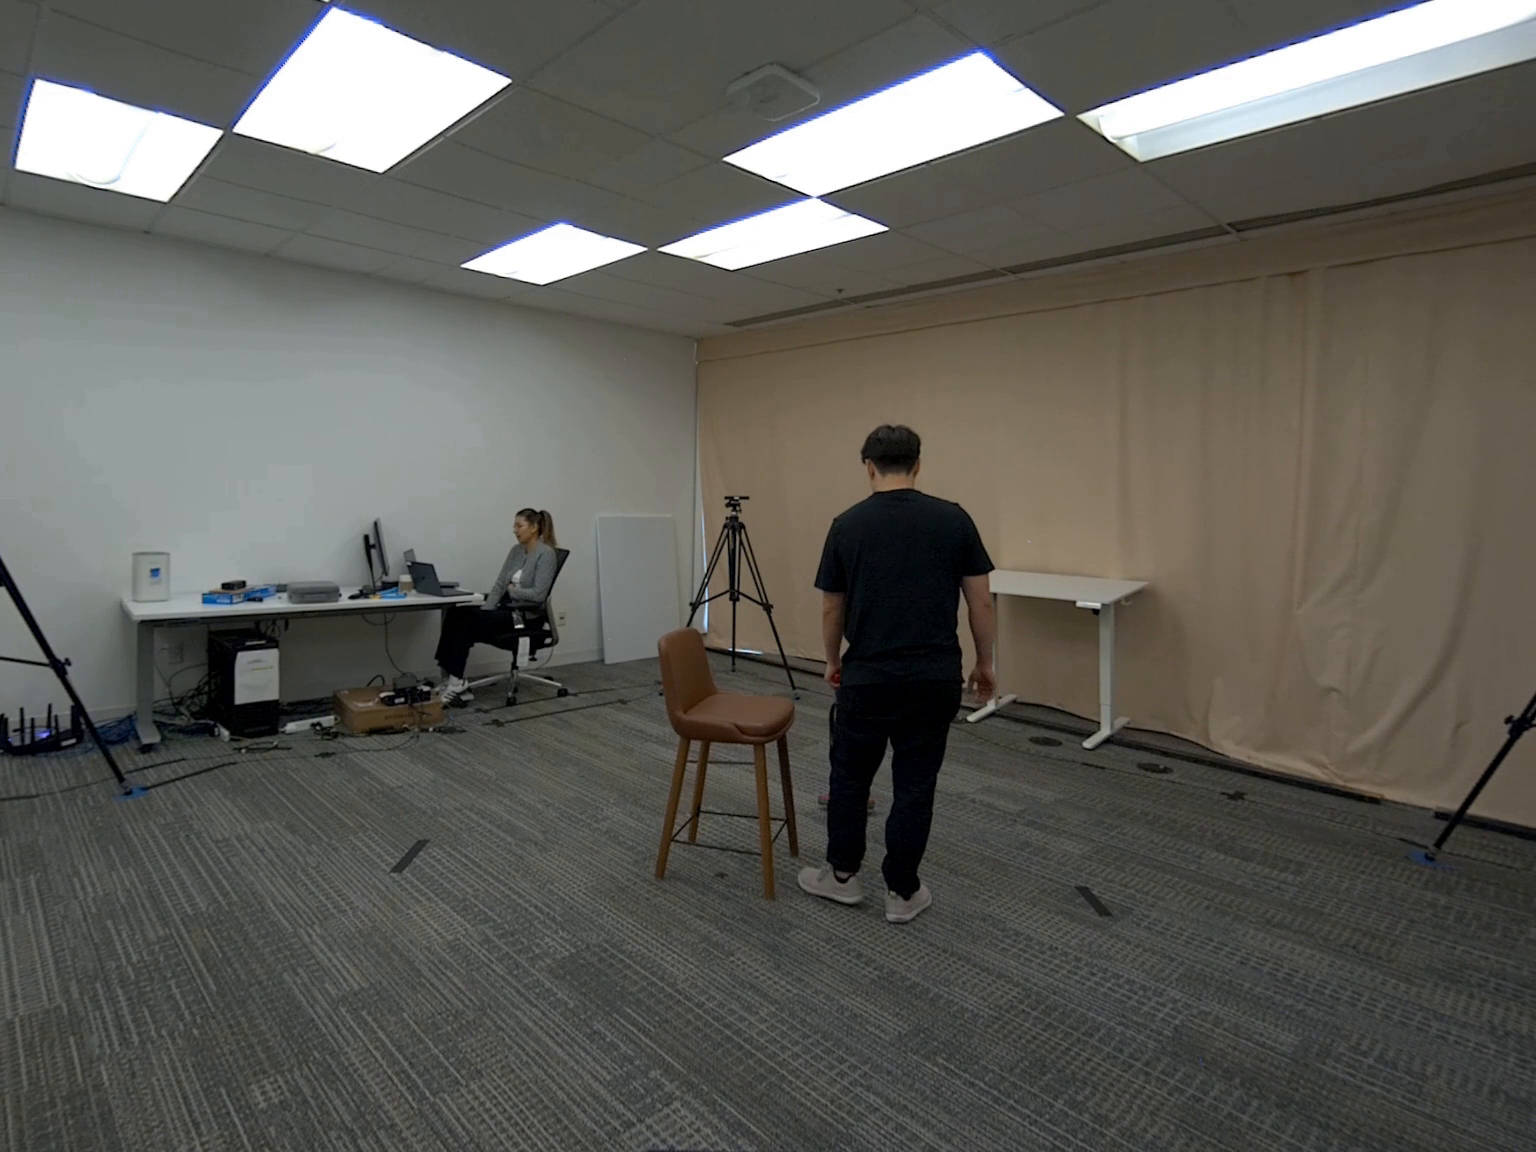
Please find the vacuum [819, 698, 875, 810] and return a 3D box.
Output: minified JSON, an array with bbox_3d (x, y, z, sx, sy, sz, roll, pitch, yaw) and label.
[{"bbox_3d":[0.294,0.709,3.379,0.255,0.146,1.022,2,-41,11],"label":"vacuum"}]
